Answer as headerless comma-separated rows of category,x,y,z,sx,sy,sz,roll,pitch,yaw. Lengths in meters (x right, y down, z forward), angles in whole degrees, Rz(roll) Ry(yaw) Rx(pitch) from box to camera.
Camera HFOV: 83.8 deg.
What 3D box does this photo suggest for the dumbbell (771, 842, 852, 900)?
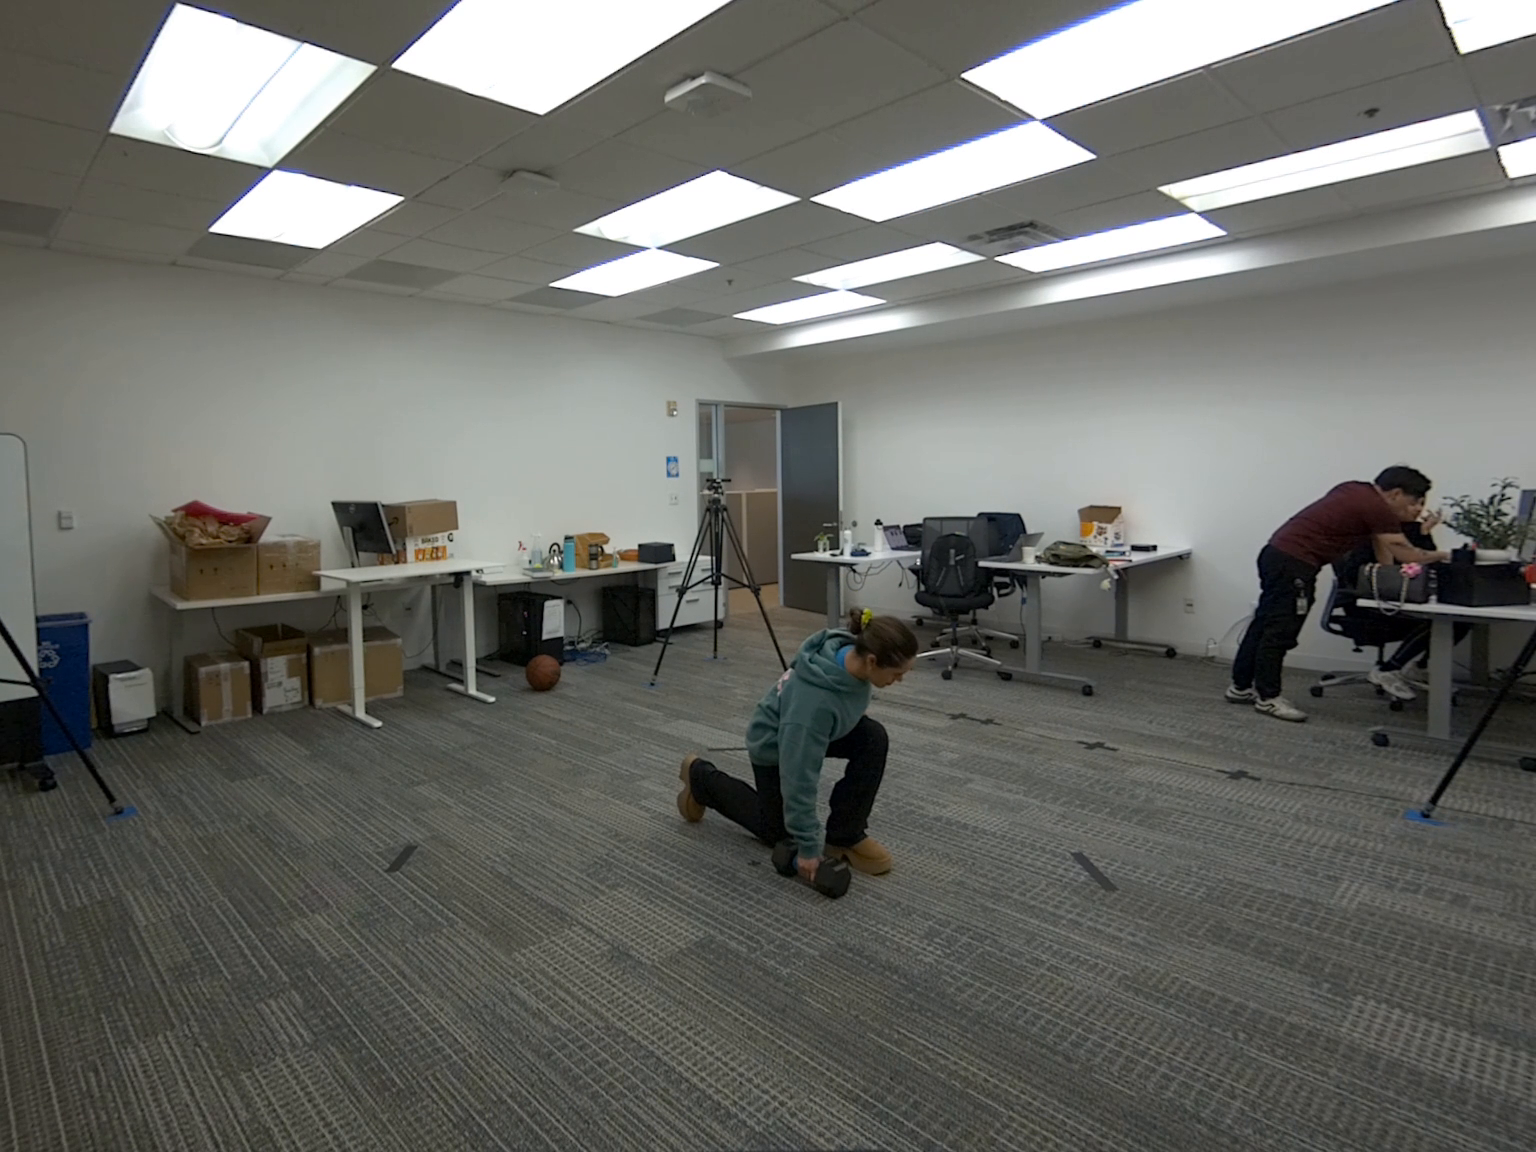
dumbbell,0.145,1.004,2.946,0.302,0.120,0.108,4,39,49
